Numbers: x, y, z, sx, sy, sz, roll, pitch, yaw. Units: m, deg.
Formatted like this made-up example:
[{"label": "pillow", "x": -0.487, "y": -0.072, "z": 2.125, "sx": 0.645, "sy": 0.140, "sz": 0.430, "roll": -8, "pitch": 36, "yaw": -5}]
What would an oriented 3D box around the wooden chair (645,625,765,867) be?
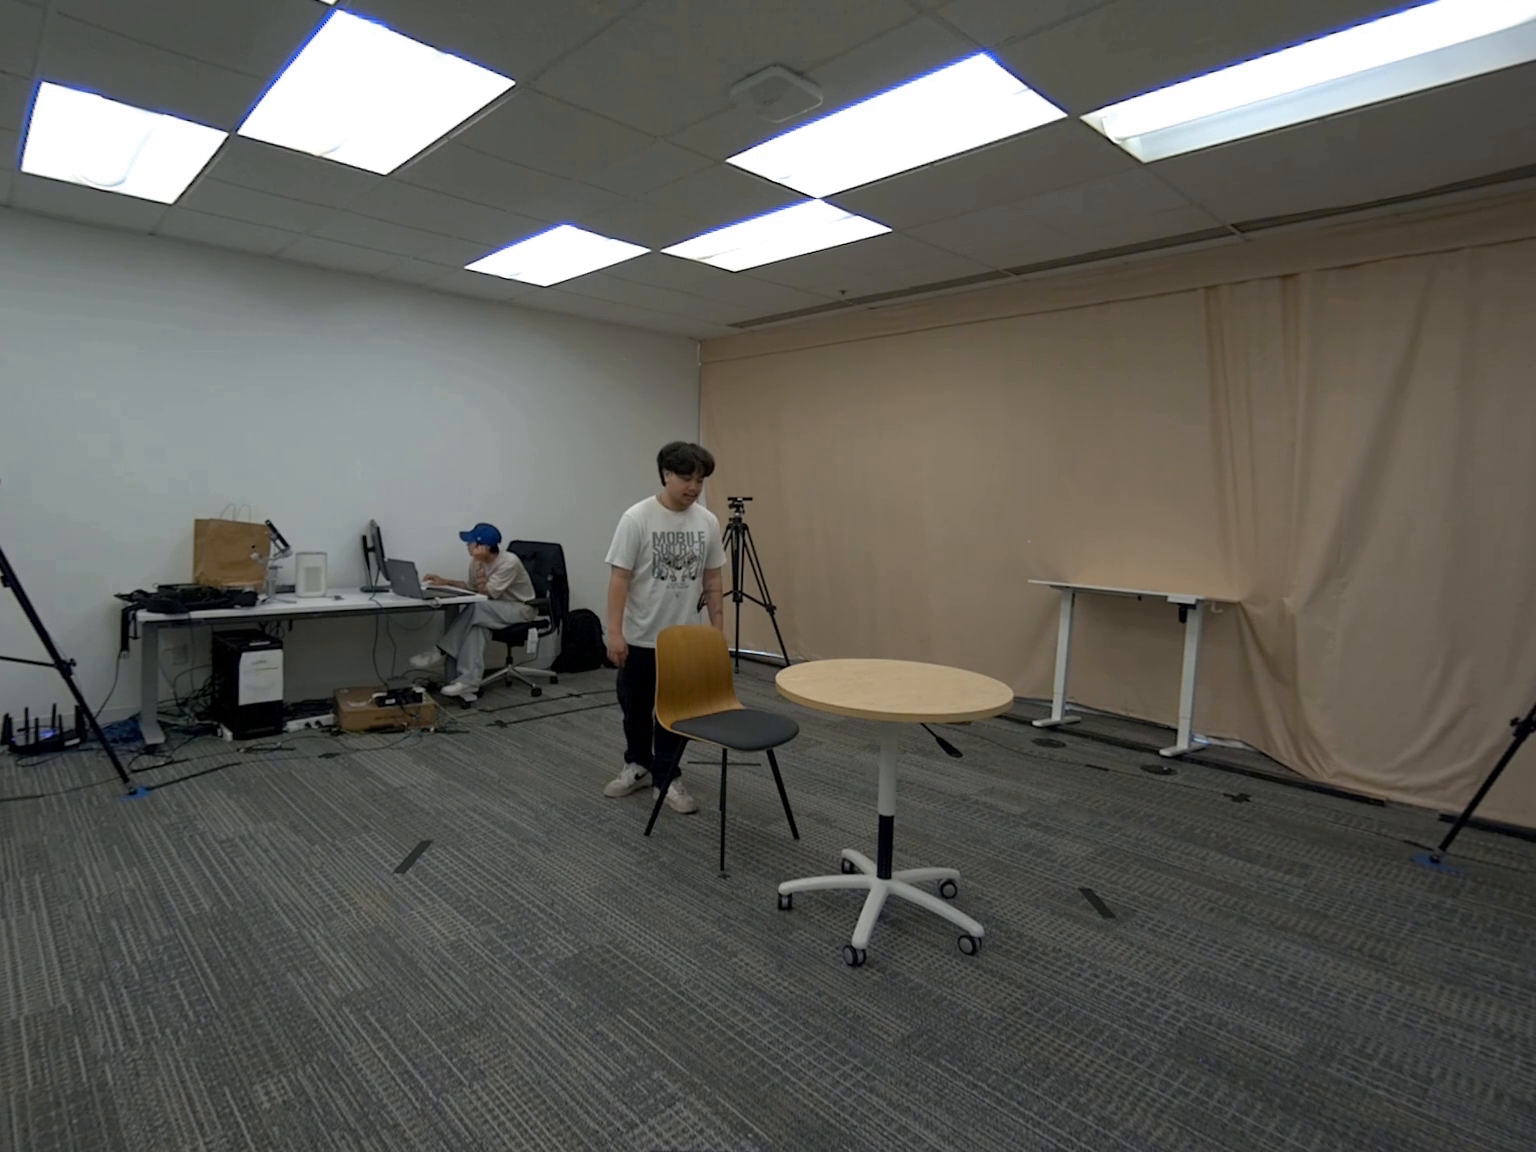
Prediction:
[{"label": "wooden chair", "x": -0.178, "y": 0.650, "z": 3.423, "sx": 0.535, "sy": 0.877, "sz": 0.467, "roll": -1, "pitch": 0, "yaw": 43}]
